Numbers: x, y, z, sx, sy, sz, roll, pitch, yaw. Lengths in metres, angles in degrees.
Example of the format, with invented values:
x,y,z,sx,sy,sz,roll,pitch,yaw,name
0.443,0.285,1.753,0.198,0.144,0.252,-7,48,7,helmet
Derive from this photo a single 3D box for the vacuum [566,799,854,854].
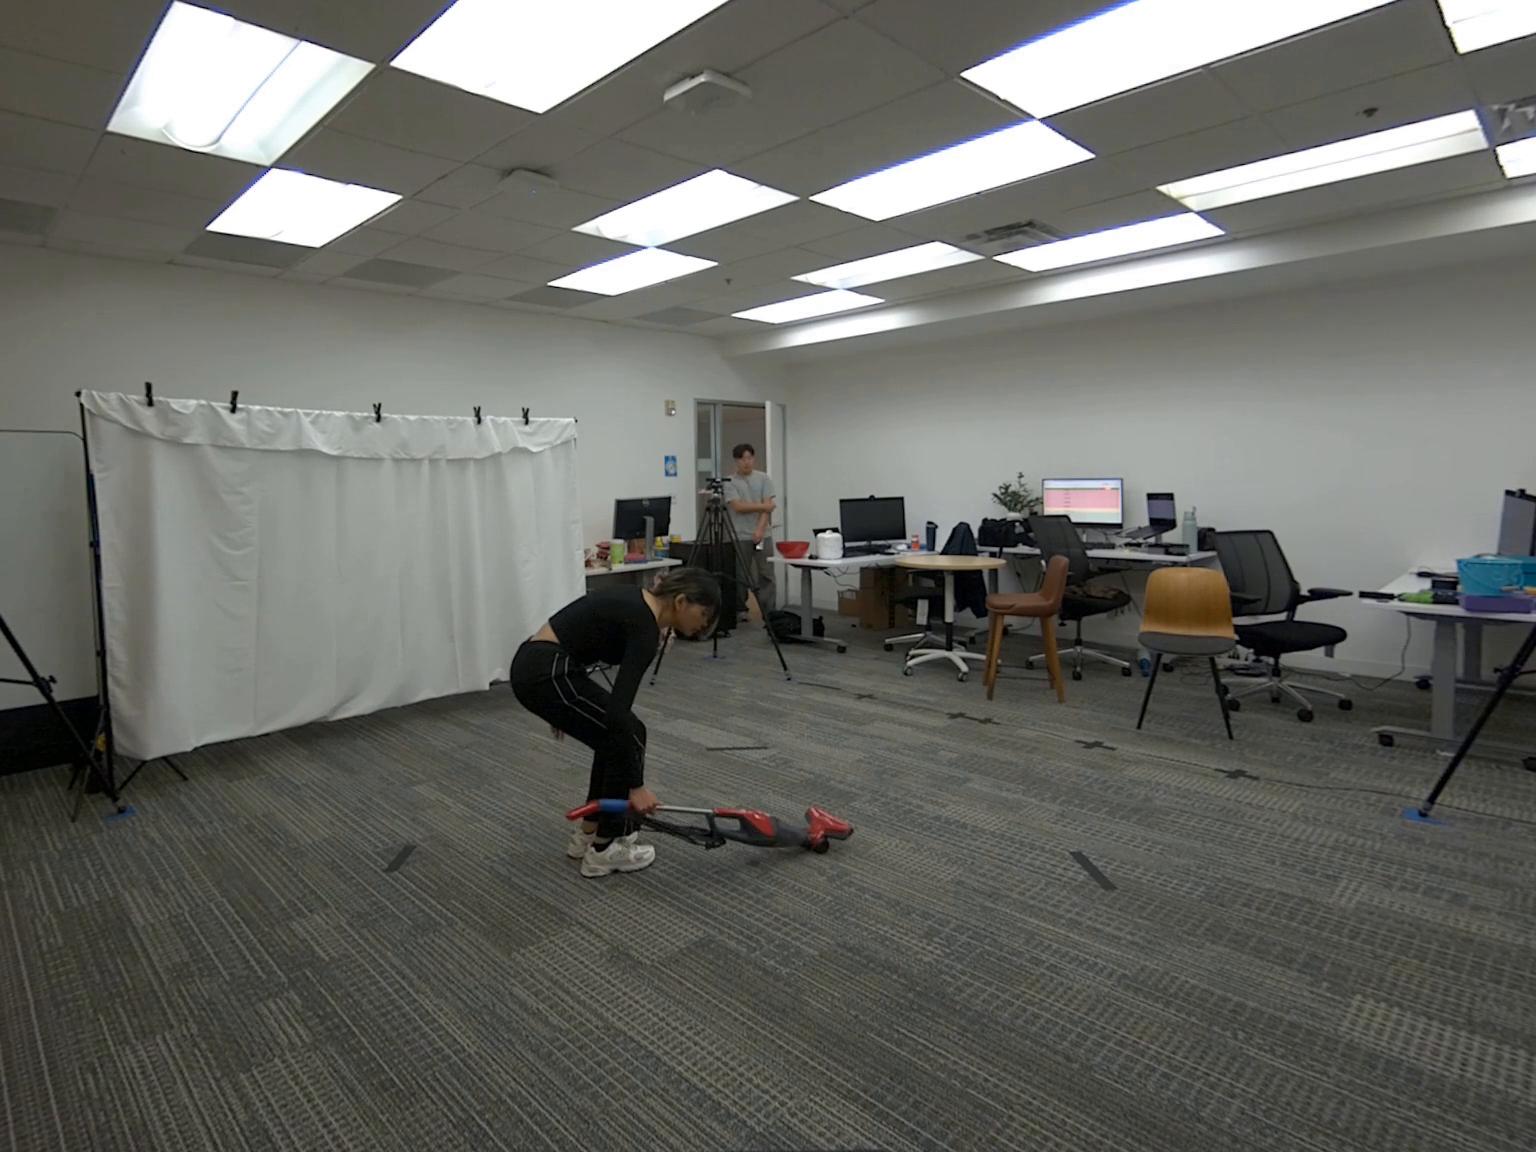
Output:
x,y,z,sx,sy,sz,roll,pitch,yaw,name
-0.208,0.869,2.986,1.018,0.144,0.260,13,0,-30,vacuum
